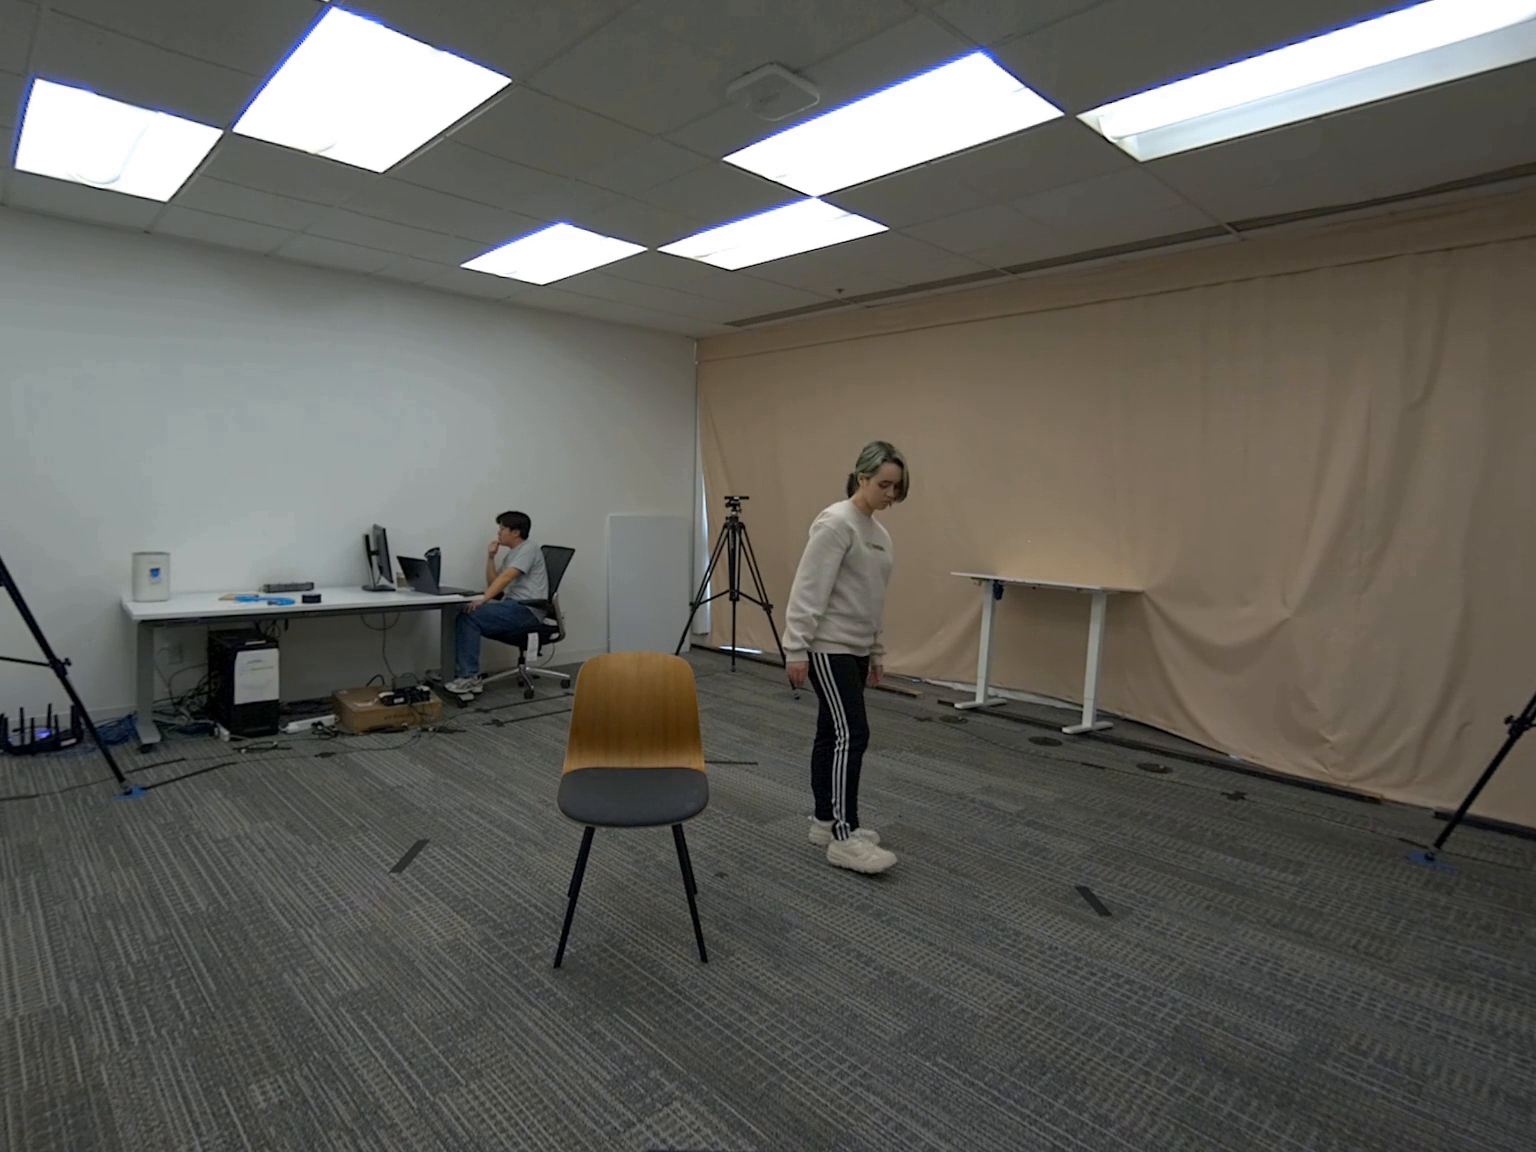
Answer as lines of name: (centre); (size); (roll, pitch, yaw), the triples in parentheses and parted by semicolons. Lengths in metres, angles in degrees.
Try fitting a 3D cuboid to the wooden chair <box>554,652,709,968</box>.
wooden chair: (-0.422, 0.711, 2.668); (0.475, 0.878, 0.526); (1, -1, -9)
